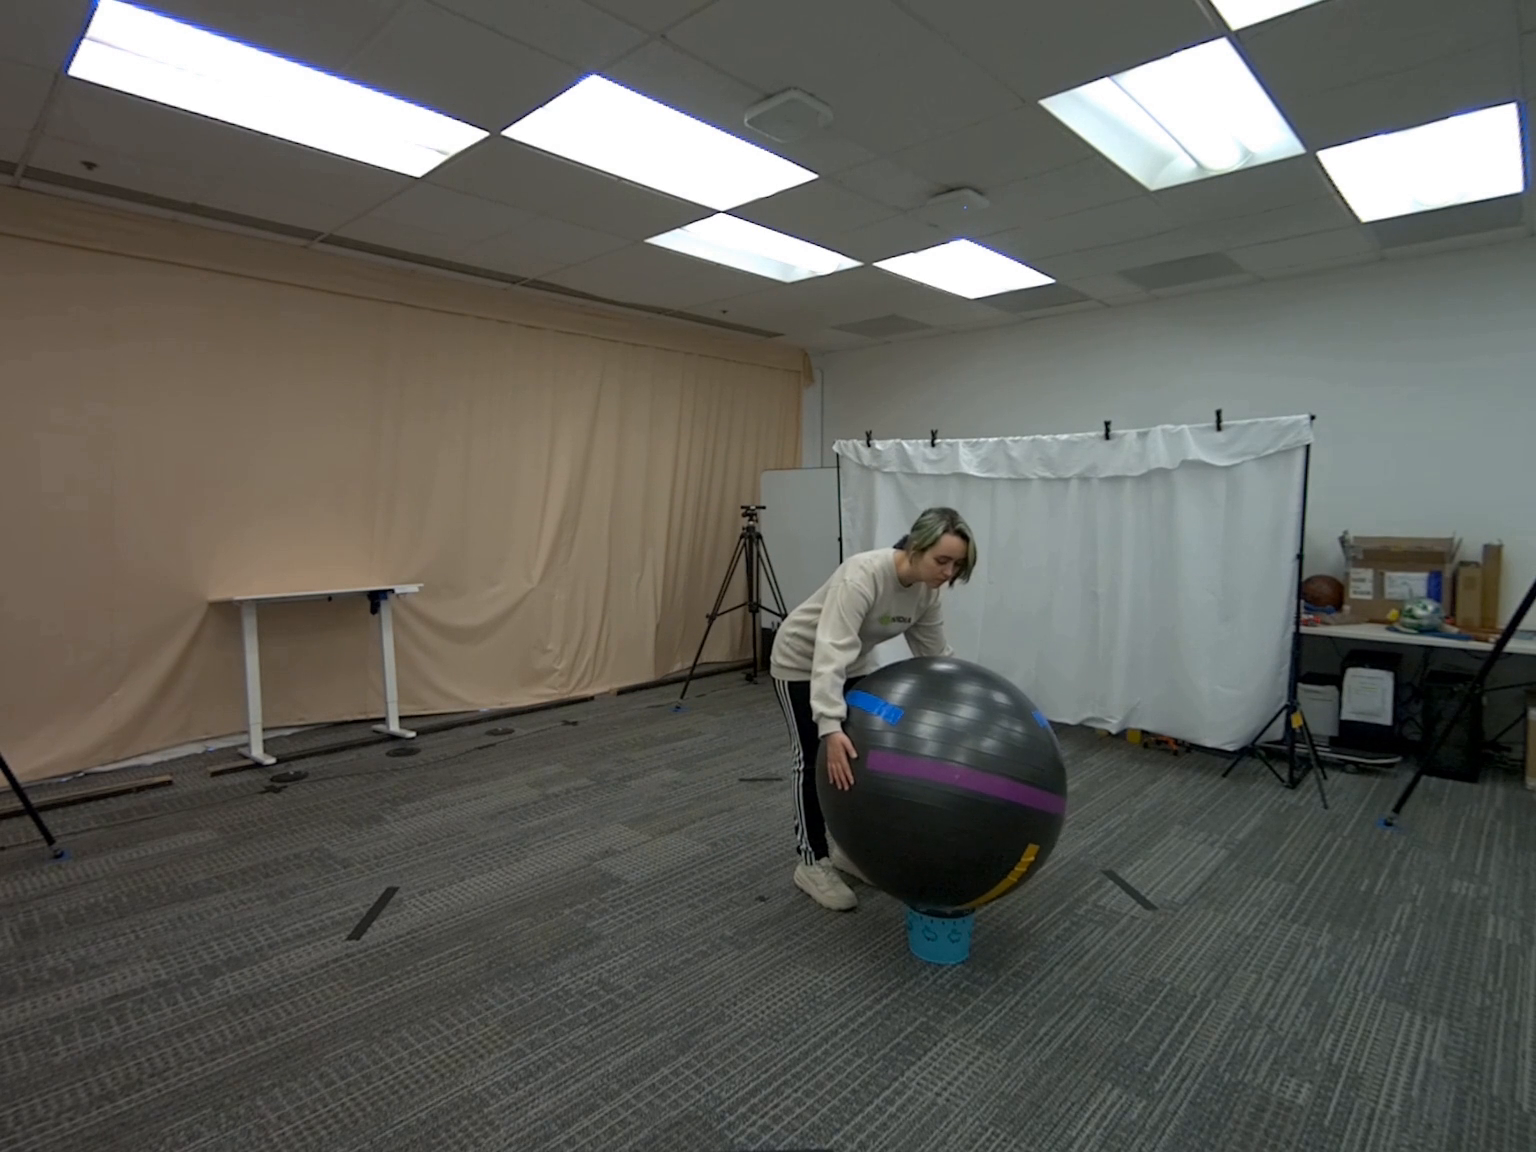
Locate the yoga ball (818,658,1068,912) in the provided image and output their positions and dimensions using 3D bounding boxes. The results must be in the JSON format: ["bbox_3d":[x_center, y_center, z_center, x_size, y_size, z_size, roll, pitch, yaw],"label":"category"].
[{"bbox_3d":[0.532,0.638,2.645,0.757,0.756,0.760,0,4,-2],"label":"yoga ball"}]
